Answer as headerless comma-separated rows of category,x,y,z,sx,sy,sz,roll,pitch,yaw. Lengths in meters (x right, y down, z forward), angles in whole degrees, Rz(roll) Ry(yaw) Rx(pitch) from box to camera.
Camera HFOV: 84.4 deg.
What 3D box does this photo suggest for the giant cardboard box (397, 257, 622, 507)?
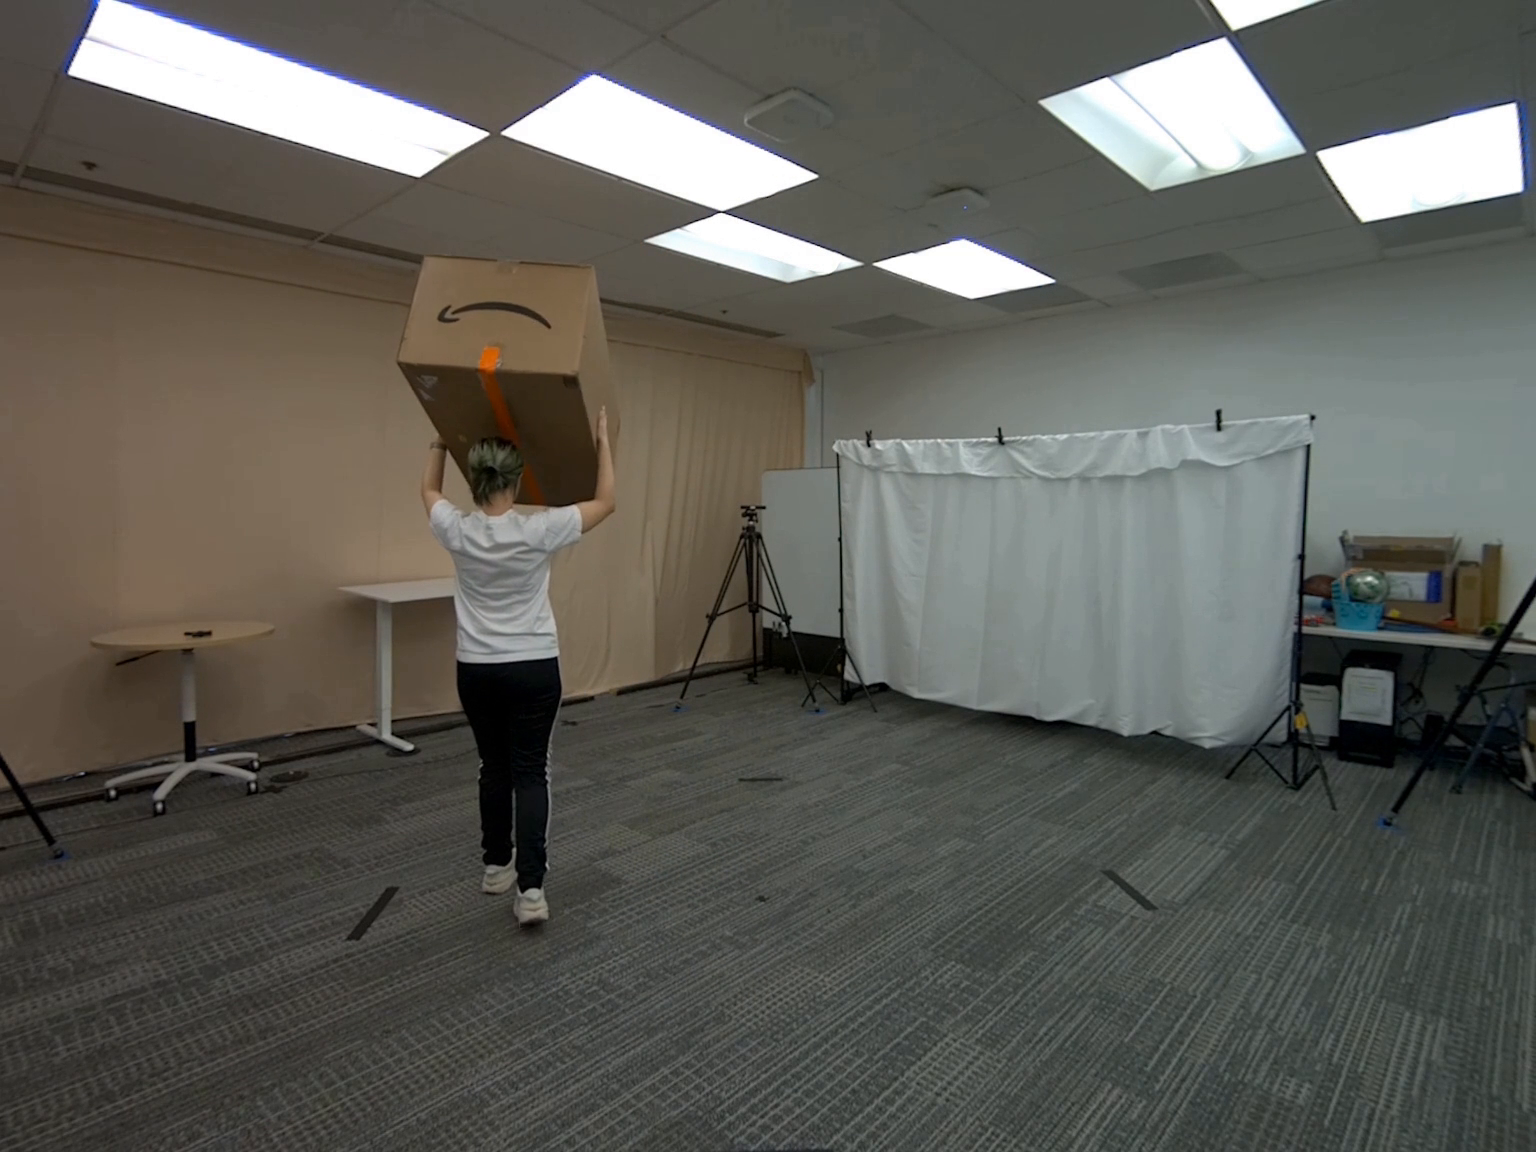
giant cardboard box,-0.904,-0.671,3.174,0.583,0.452,1.017,4,-21,-2
